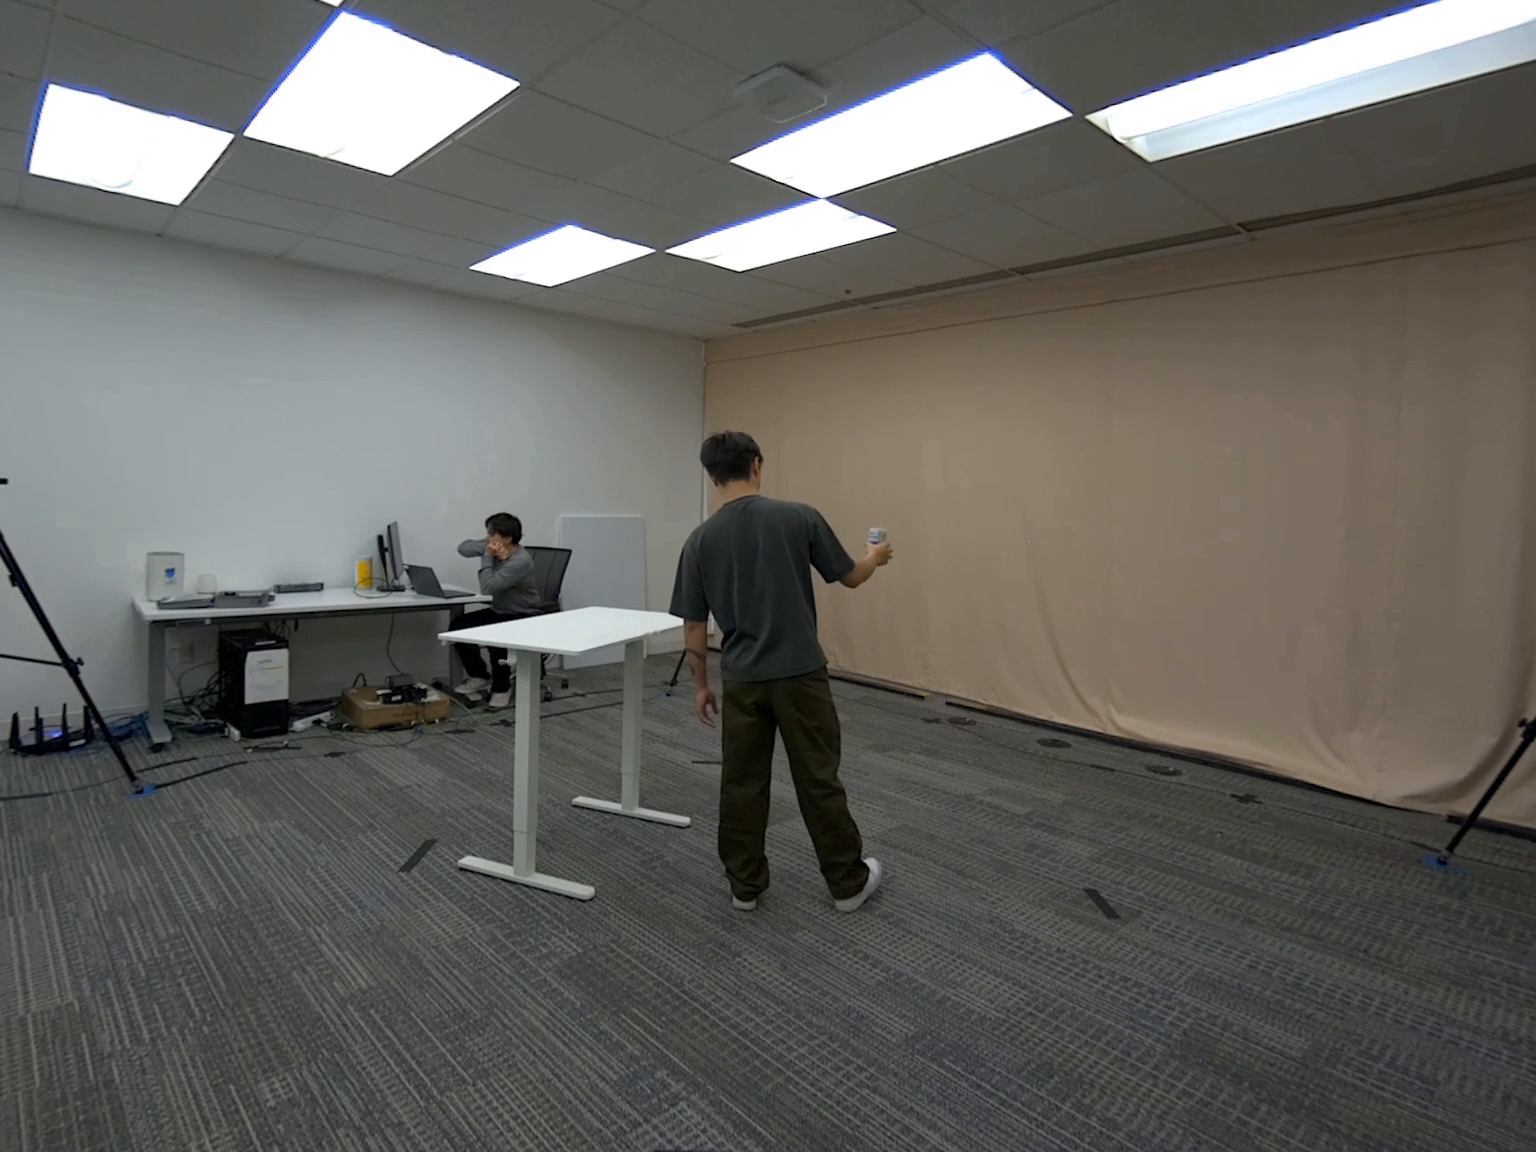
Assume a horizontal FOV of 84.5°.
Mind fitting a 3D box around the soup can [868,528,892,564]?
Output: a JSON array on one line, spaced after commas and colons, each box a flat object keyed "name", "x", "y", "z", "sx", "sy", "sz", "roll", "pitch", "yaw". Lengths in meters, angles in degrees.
[{"name": "soup can", "x": 0.420, "y": -0.115, "z": 3.218, "sx": 0.067, "sy": 0.122, "sz": 0.067, "roll": 7, "pitch": -2, "yaw": -1}]
